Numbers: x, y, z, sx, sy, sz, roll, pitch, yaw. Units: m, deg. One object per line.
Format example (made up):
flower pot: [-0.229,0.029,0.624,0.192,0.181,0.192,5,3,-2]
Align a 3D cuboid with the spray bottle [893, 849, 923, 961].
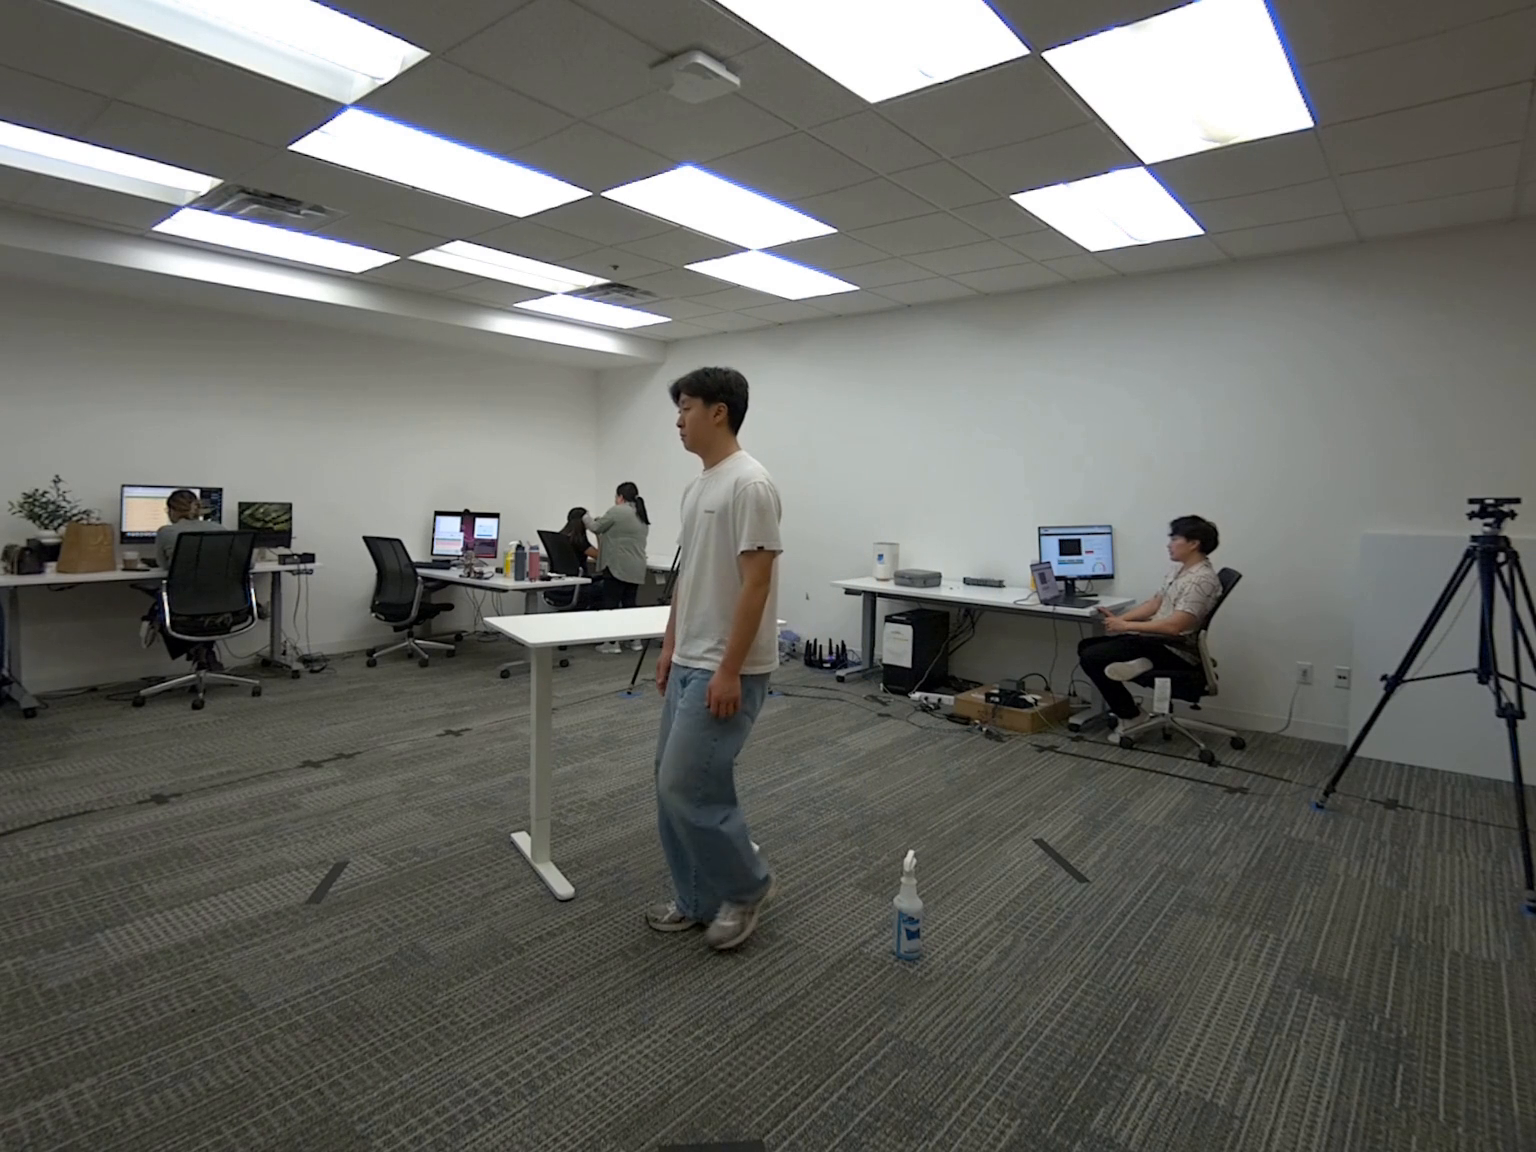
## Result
spray bottle: [0.418,0.994,2.558,0.090,0.297,0.087,3,1,45]
